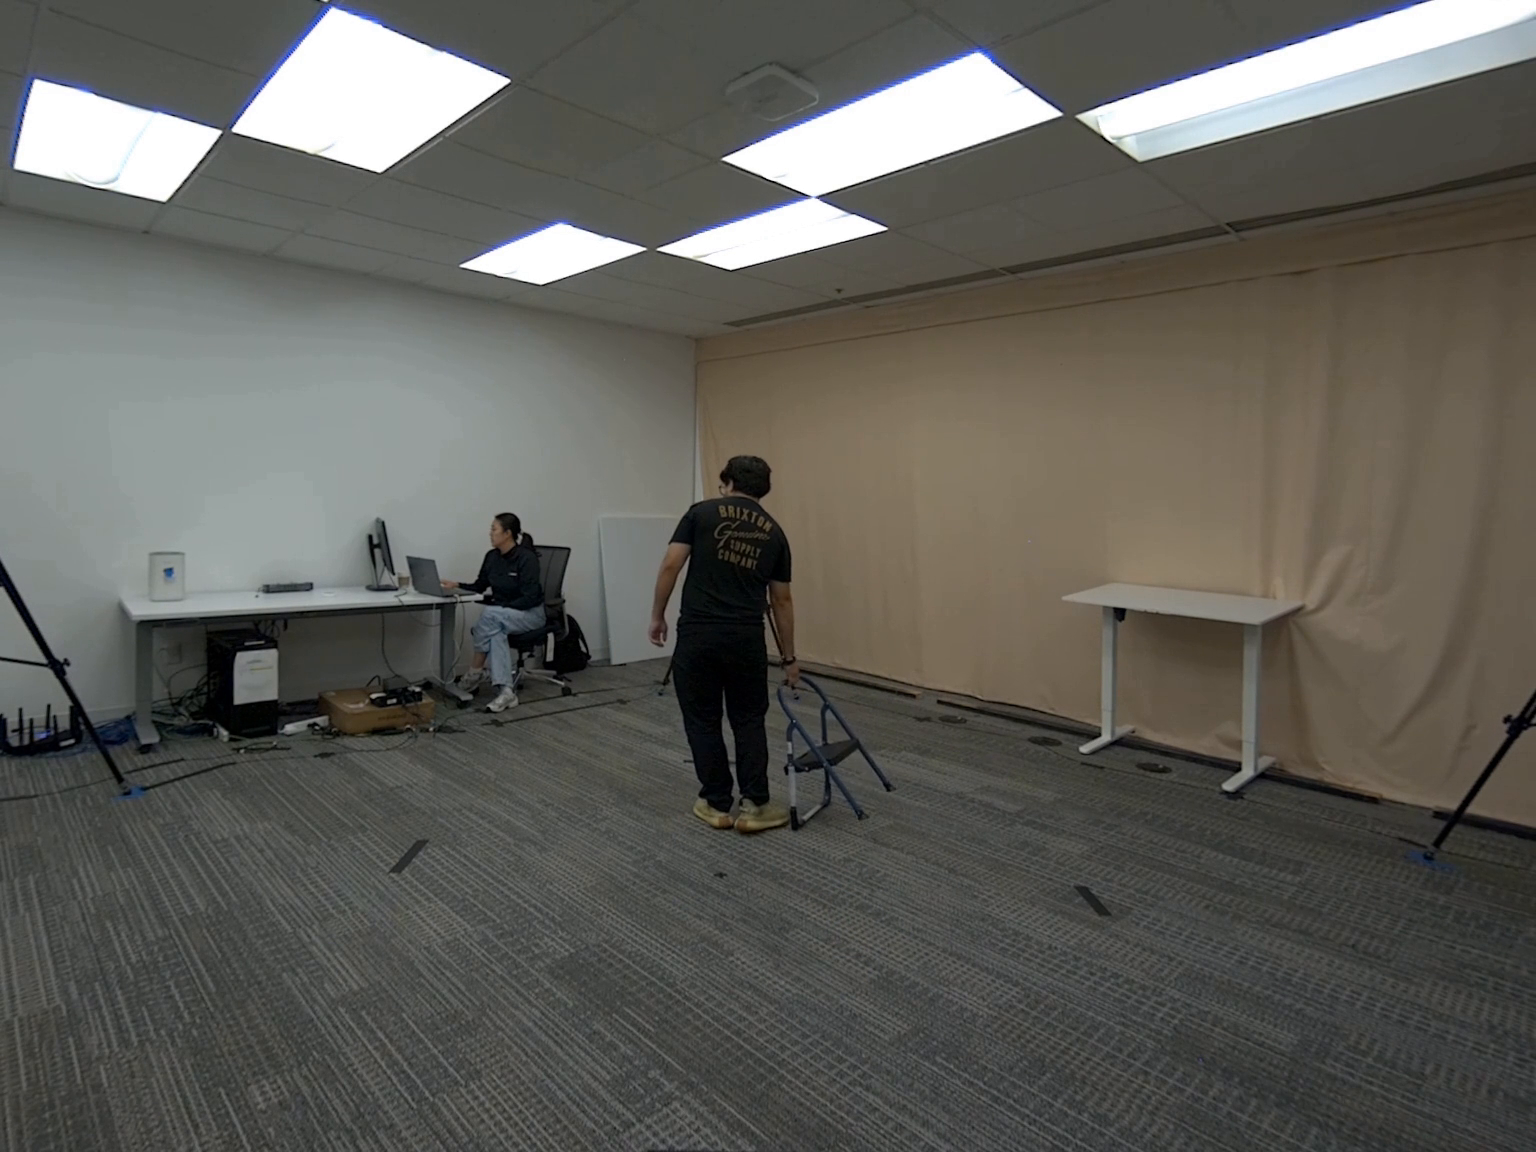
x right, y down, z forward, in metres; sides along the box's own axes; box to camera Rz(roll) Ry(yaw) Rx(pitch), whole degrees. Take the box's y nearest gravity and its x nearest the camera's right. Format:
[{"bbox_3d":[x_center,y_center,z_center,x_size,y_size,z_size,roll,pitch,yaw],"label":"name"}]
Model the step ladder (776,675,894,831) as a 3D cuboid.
[{"bbox_3d":[0.236,0.728,3.690,0.353,0.610,0.423,-19,-6,24],"label":"step ladder"}]
